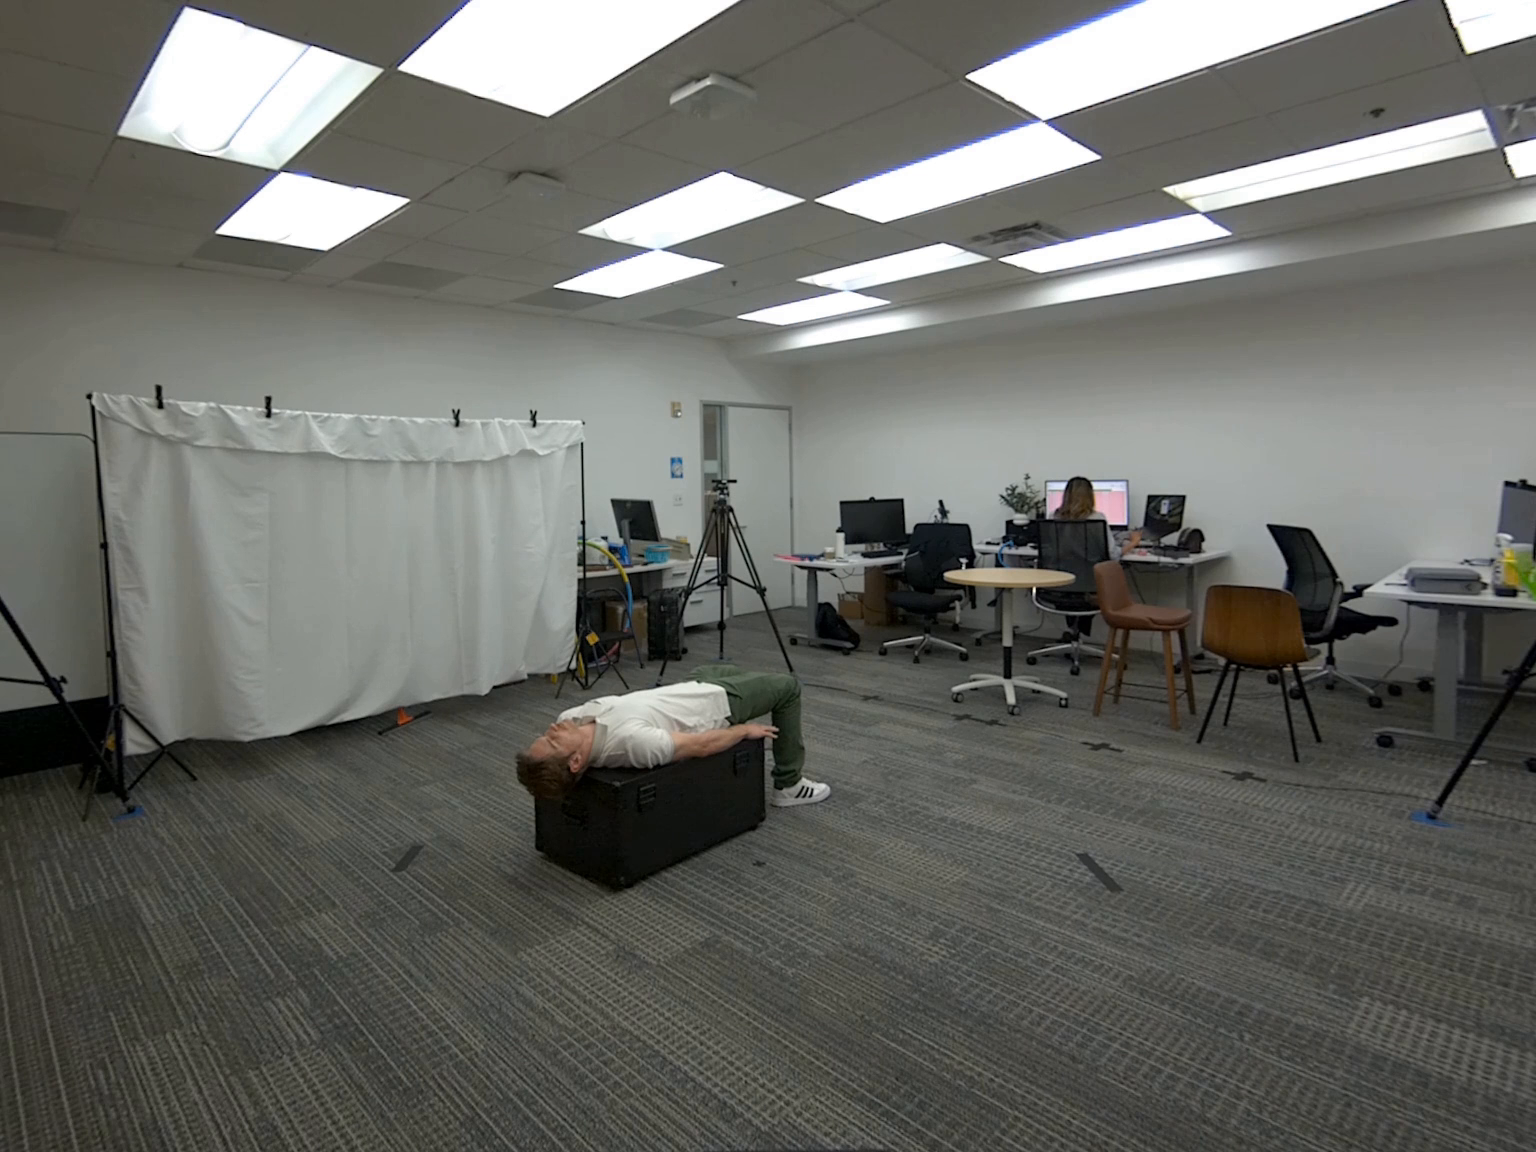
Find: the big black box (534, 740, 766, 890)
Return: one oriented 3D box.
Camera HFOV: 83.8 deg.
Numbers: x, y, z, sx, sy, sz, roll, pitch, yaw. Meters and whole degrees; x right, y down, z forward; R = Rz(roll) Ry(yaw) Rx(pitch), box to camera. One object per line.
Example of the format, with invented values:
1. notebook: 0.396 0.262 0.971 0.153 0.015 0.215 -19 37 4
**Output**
1. big black box: -0.415 0.840 3.344 0.539 0.384 0.846 3 6 42
